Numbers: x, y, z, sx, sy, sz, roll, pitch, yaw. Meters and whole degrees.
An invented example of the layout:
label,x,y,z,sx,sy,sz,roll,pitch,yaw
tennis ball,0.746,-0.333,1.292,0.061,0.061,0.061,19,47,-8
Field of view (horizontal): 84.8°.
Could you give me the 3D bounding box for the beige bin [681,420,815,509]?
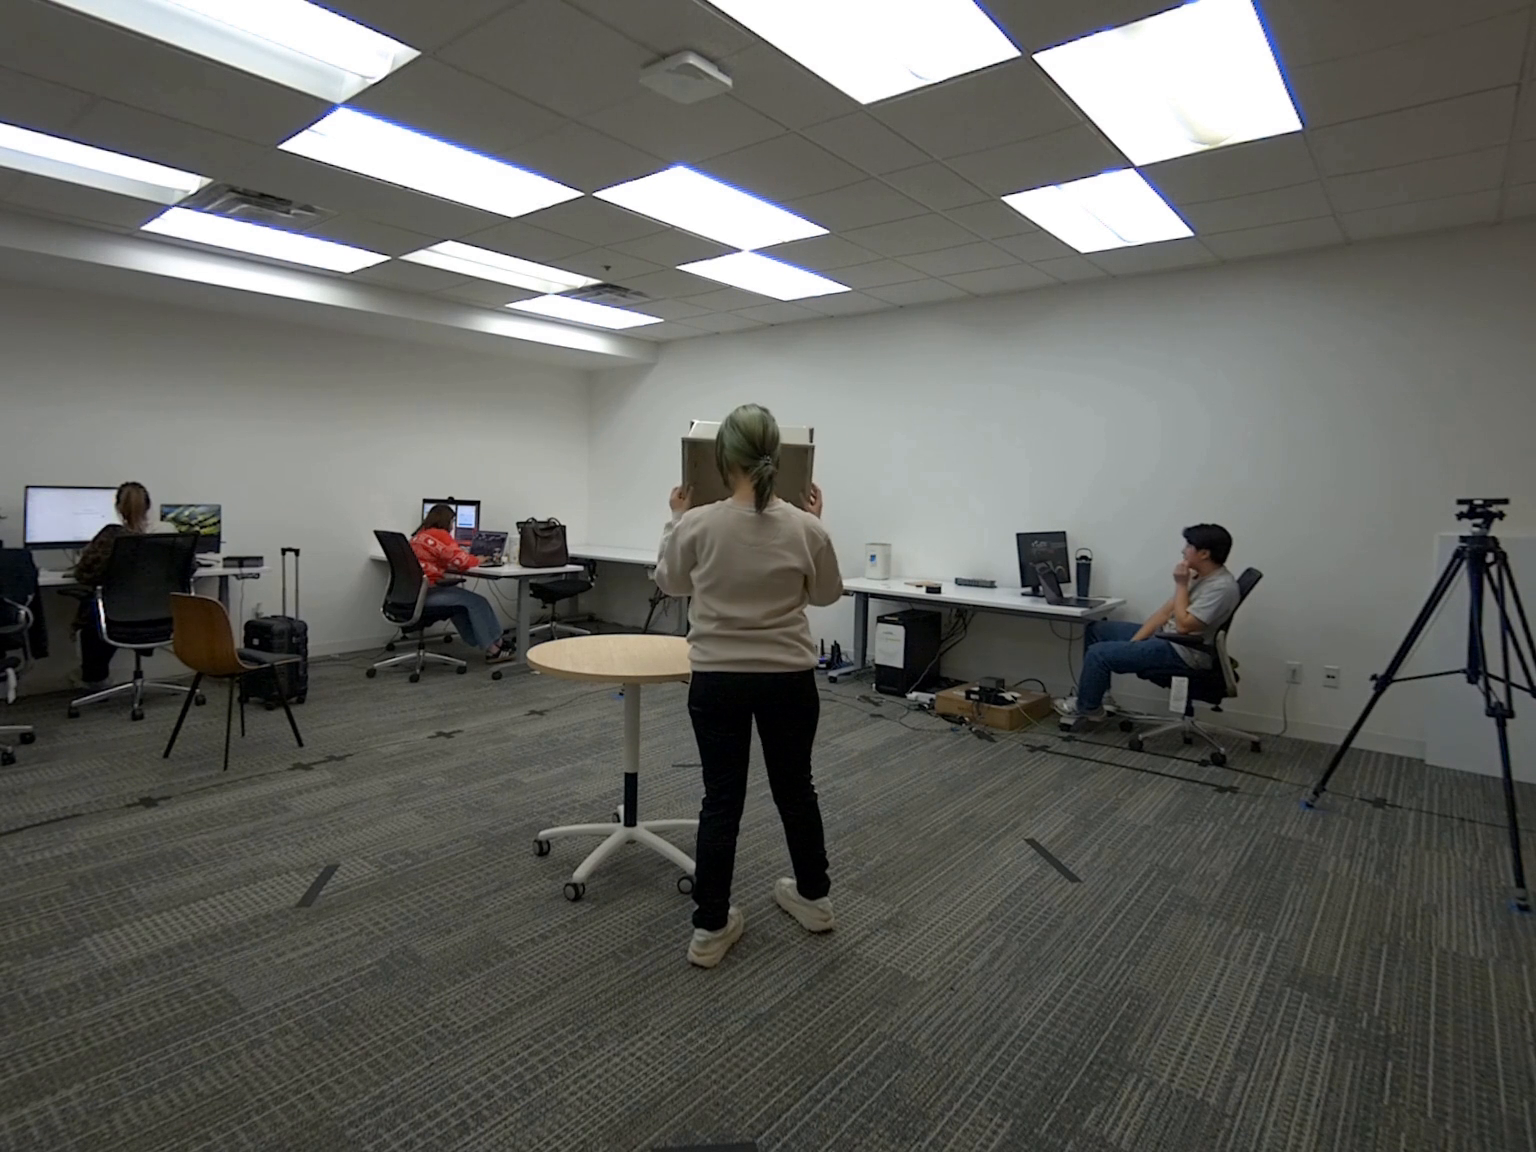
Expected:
label,x,y,z,sx,sy,sz,roll,pitch,yaw
beige bin,-0.071,-0.312,2.819,0.426,0.369,0.192,6,29,6
